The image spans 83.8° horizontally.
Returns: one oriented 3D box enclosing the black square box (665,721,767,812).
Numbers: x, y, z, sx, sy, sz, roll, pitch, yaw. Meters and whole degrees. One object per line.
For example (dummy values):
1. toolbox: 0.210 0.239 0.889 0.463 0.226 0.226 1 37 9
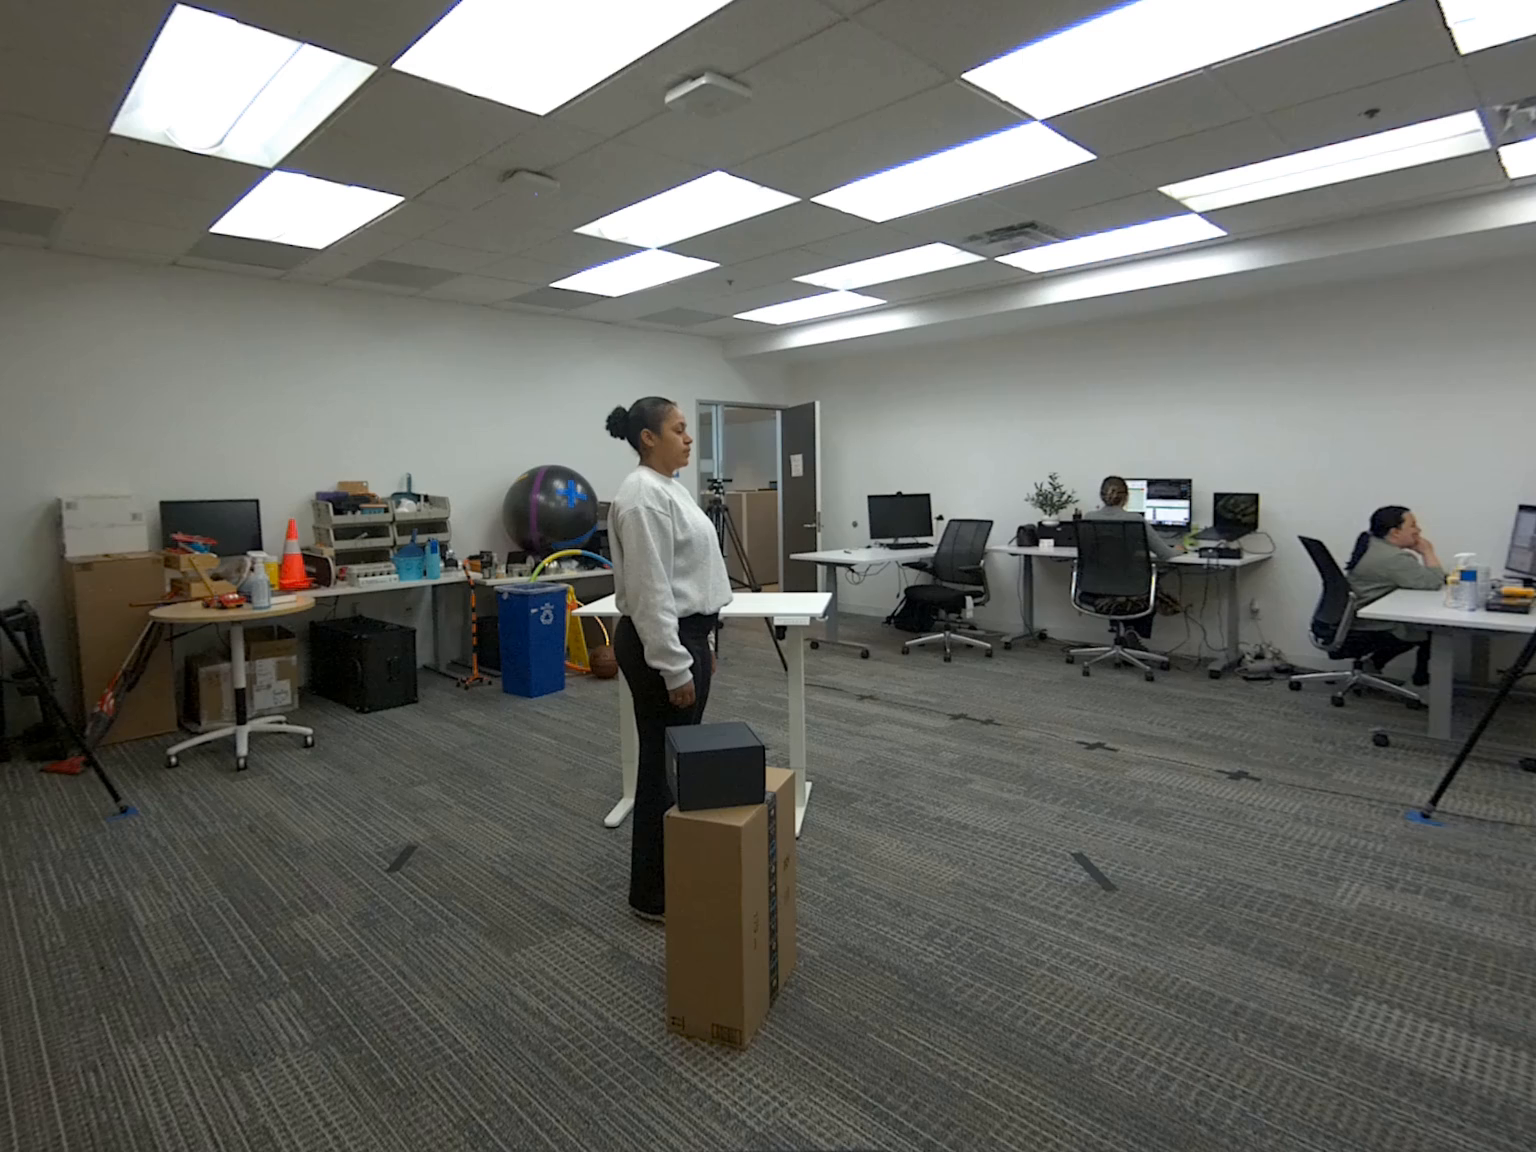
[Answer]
1. black square box: -0.146 0.503 2.273 0.225 0.155 0.221 -2 6 -14
